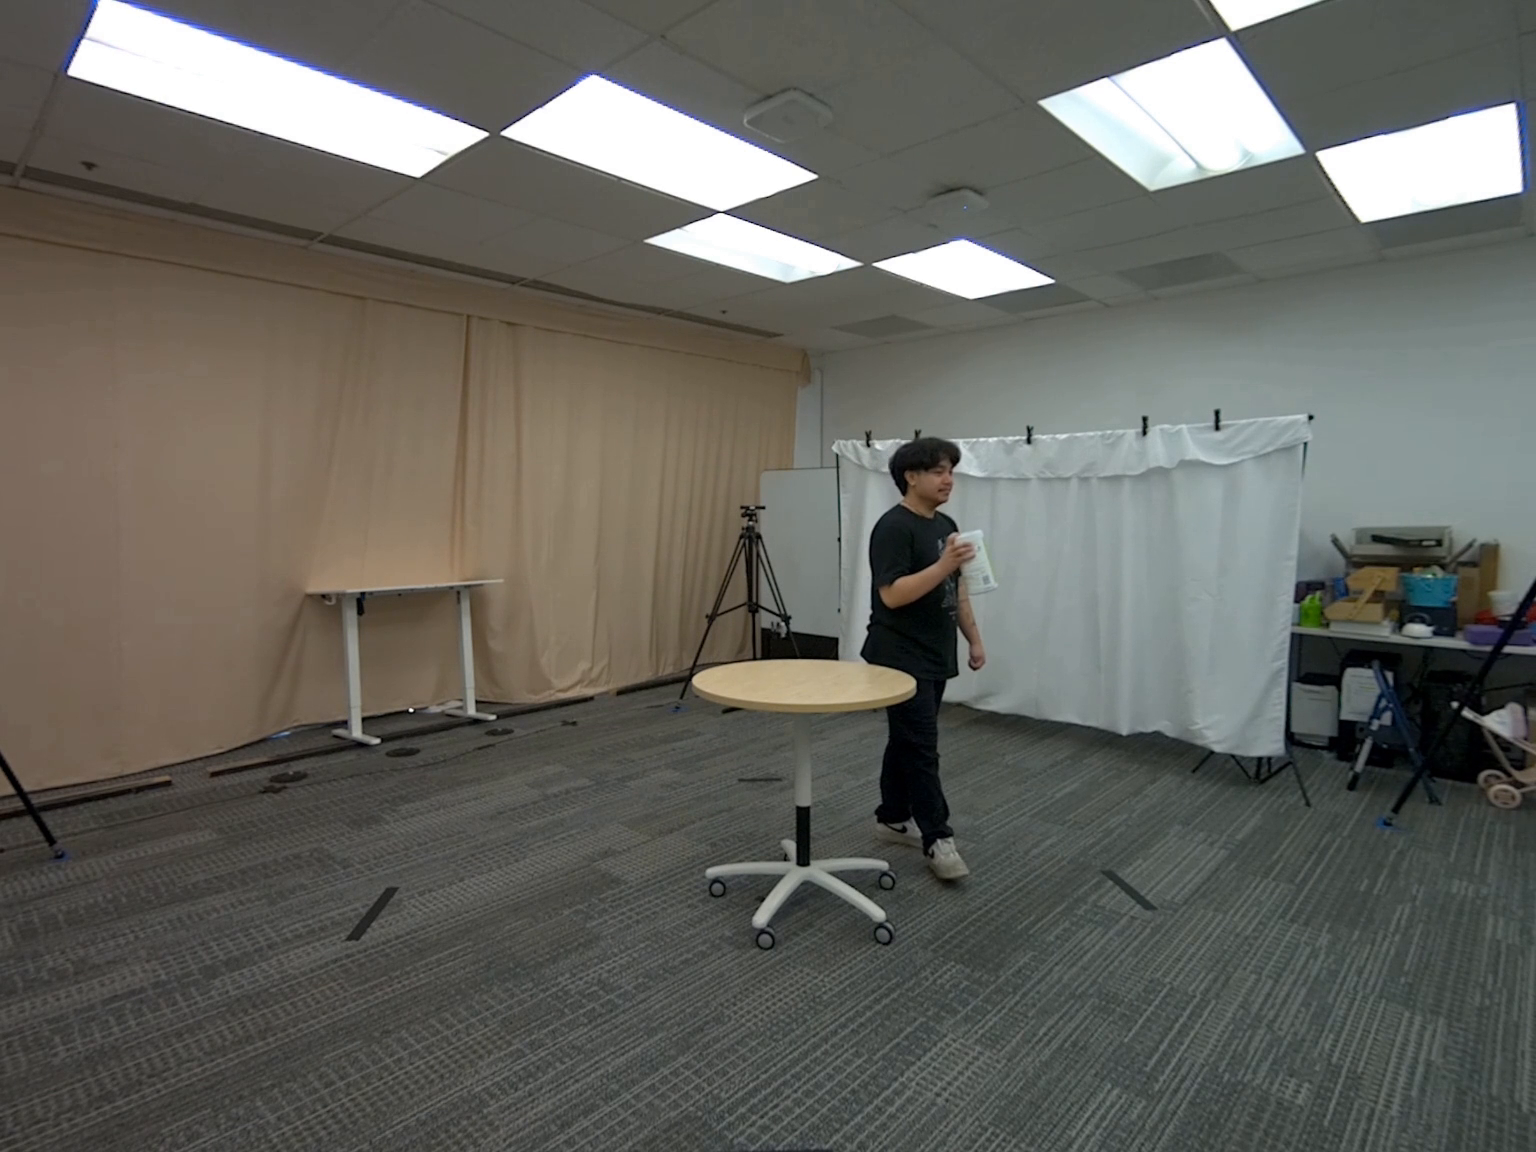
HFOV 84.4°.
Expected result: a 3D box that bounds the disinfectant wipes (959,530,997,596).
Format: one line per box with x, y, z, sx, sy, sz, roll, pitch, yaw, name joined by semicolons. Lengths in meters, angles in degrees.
0.734;-0.048;2.982;0.118;0.217;0.118;-15;2;-1;disinfectant wipes
